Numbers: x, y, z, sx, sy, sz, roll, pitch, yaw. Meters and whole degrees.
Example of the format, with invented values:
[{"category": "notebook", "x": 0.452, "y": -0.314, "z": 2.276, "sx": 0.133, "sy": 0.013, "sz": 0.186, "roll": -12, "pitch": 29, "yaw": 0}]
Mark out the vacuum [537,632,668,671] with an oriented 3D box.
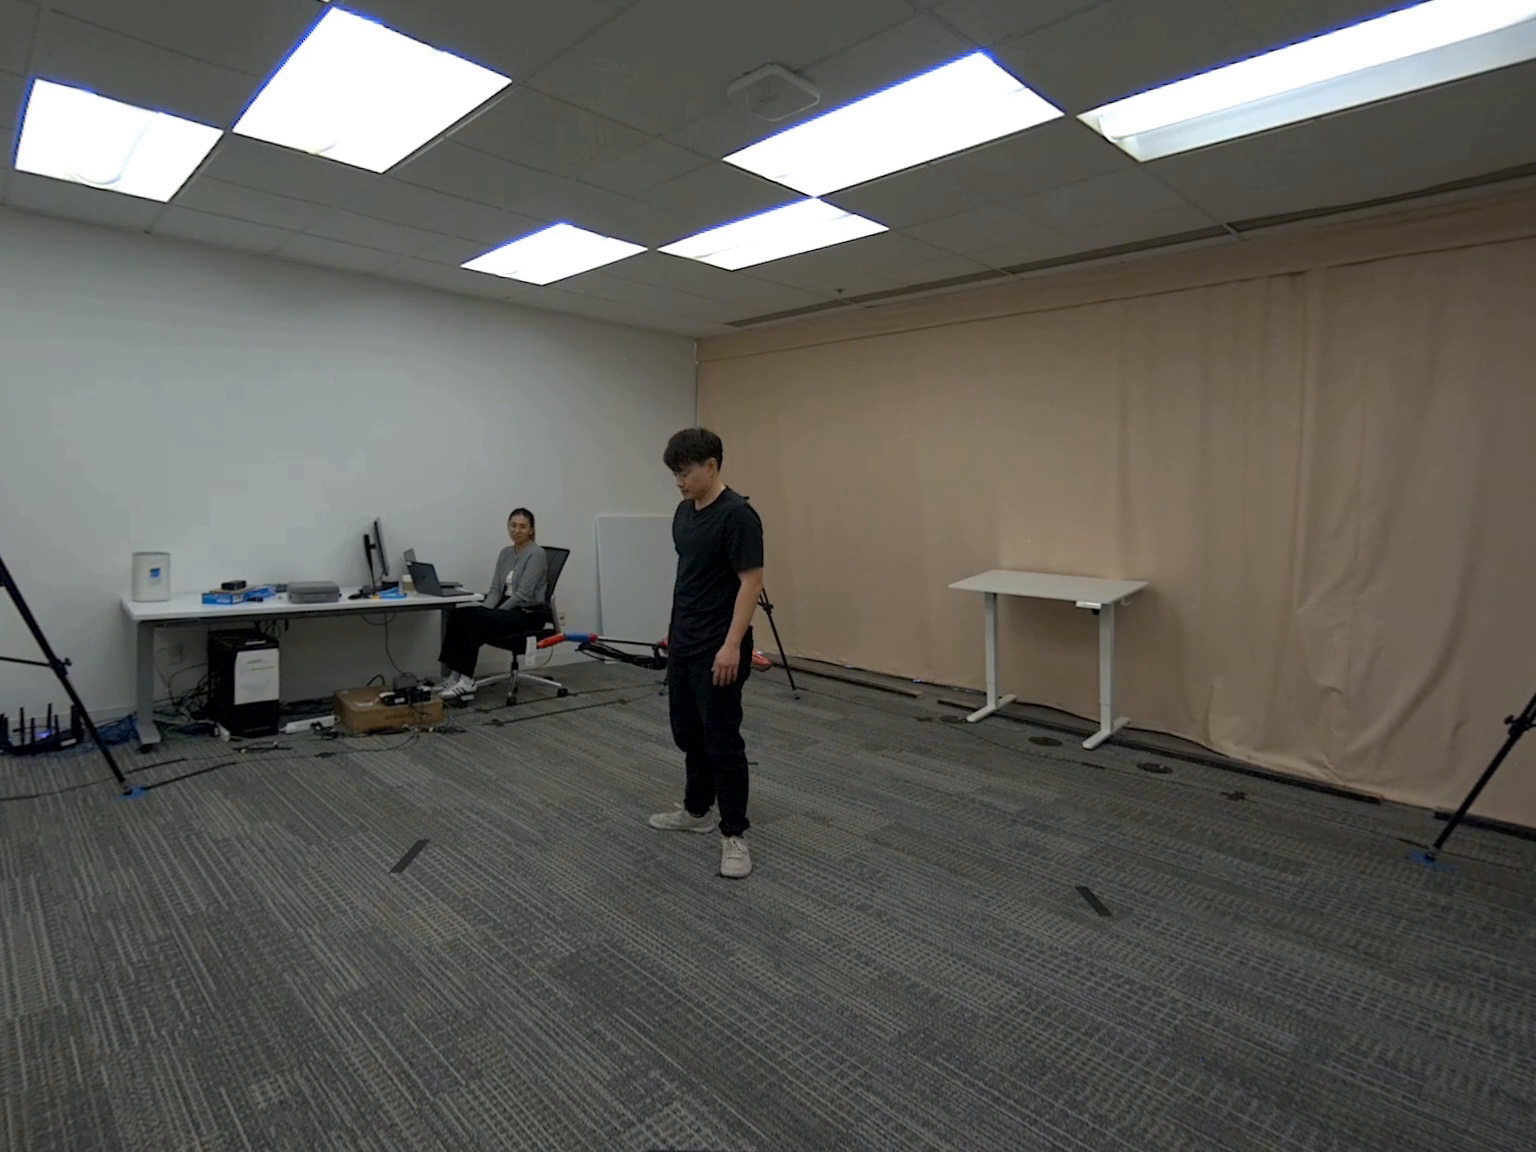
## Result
[{"category": "vacuum", "x": -0.491, "y": 0.326, "z": 3.523, "sx": 1.021, "sy": 0.143, "sz": 0.260, "roll": 10, "pitch": 13, "yaw": -39}]
